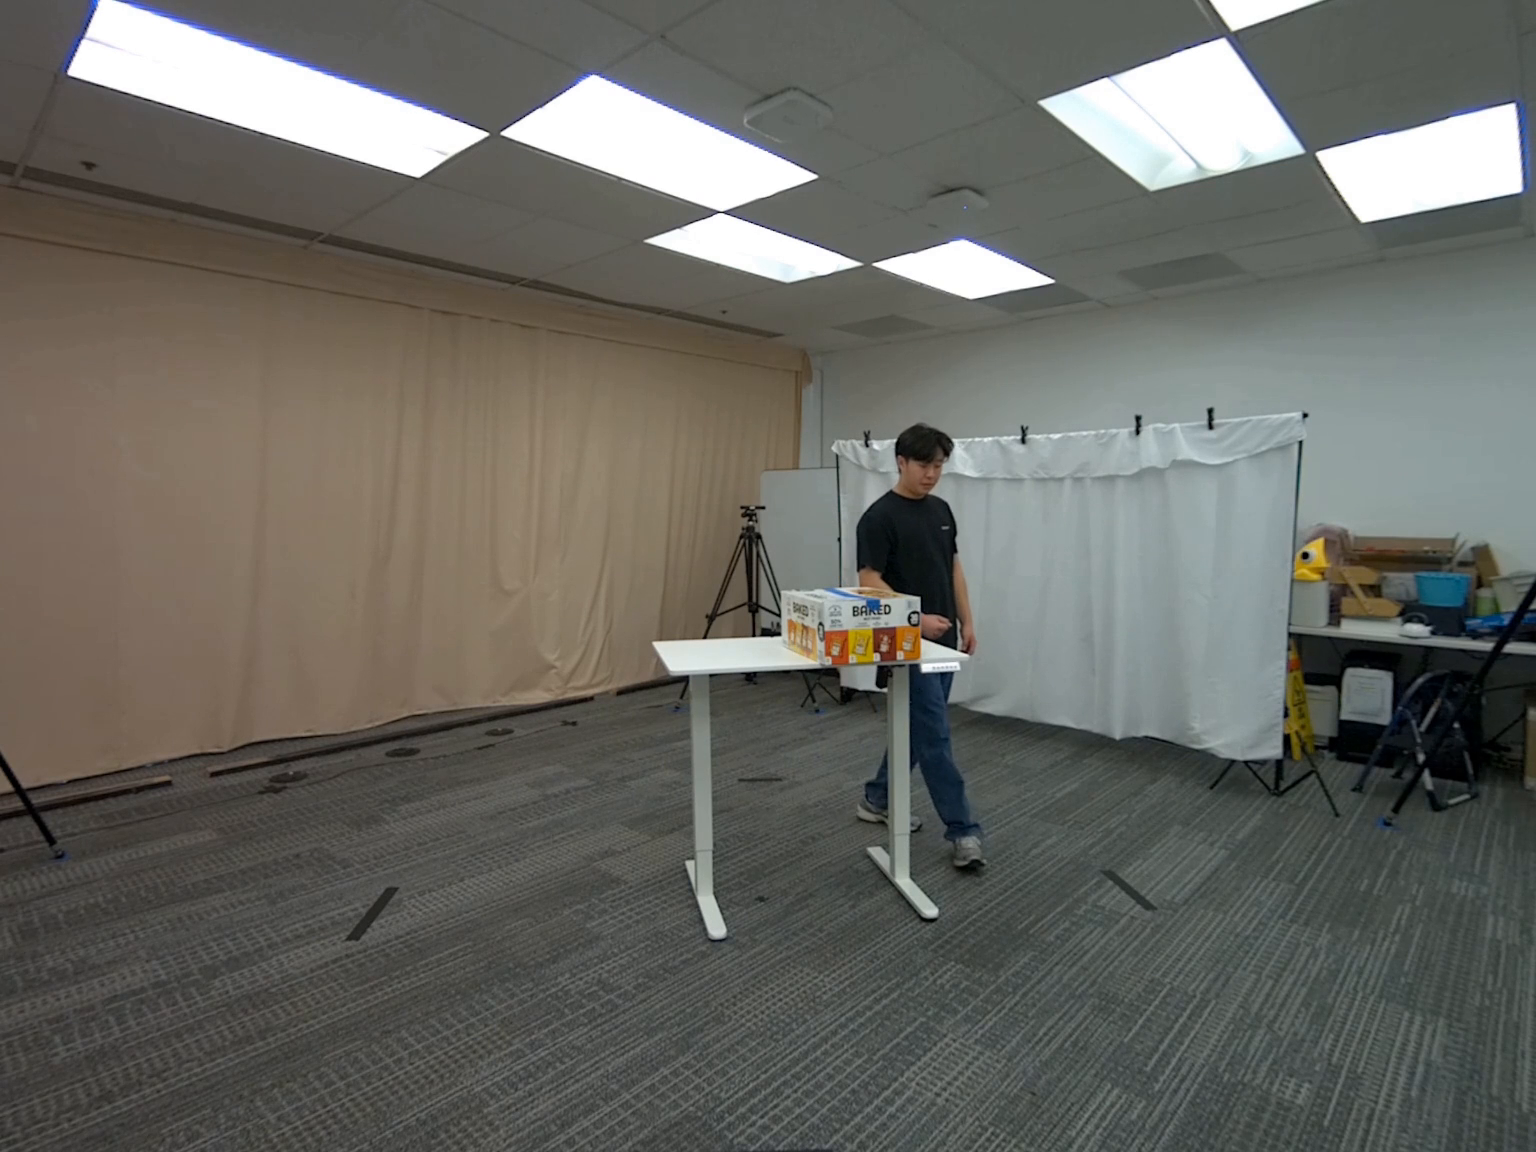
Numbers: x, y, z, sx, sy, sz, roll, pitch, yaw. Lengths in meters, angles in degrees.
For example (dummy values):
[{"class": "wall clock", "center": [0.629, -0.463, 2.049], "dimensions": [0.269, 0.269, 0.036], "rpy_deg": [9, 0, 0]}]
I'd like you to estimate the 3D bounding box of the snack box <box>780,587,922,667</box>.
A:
[{"class": "snack box", "center": [0.276, 0.163, 2.889], "dimensions": [0.335, 0.205, 0.413], "rpy_deg": [-2, 4, -17]}]
